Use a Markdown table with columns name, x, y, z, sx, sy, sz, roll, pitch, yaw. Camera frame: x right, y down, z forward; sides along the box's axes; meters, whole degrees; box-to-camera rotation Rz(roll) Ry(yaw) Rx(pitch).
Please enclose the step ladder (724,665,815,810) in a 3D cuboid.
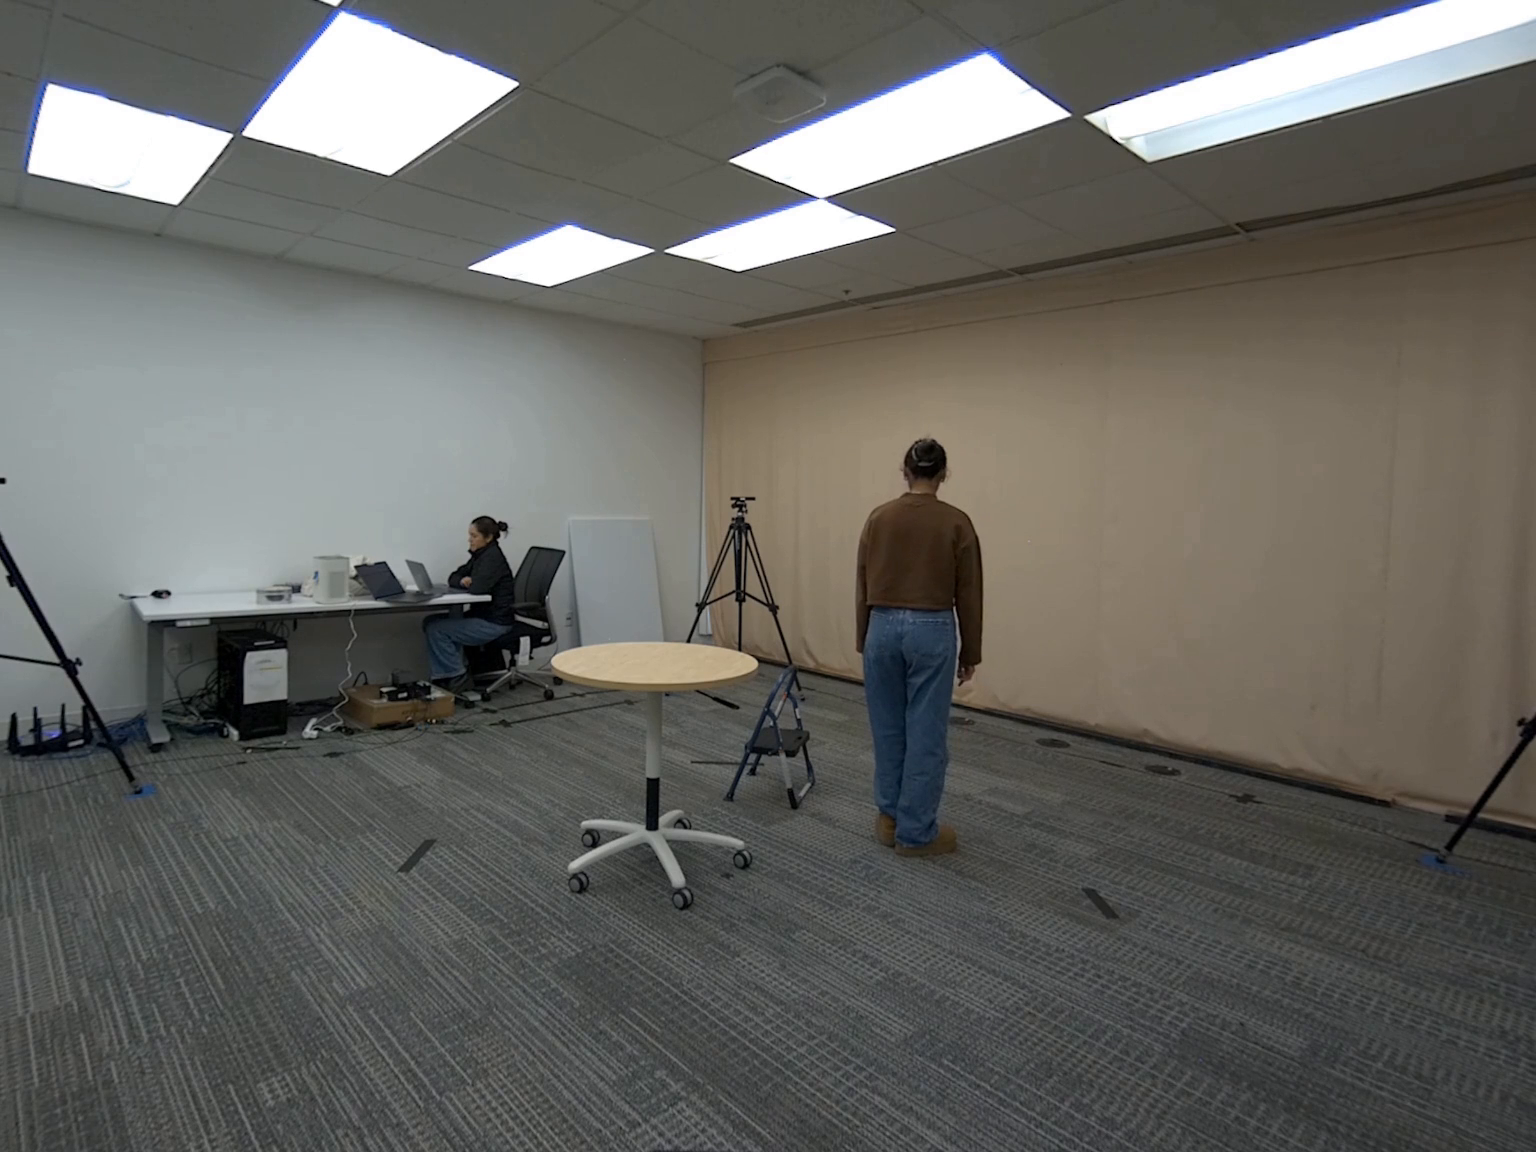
| name | x | y | z | sx | sy | sz | roll | pitch | yaw |
| --- | --- | --- | --- | --- | --- | --- | --- | --- | --- |
| step ladder | 0.015 | 0.730 | 4.026 | 0.354 | 0.605 | 0.426 | 2 | 4 | 16 |
